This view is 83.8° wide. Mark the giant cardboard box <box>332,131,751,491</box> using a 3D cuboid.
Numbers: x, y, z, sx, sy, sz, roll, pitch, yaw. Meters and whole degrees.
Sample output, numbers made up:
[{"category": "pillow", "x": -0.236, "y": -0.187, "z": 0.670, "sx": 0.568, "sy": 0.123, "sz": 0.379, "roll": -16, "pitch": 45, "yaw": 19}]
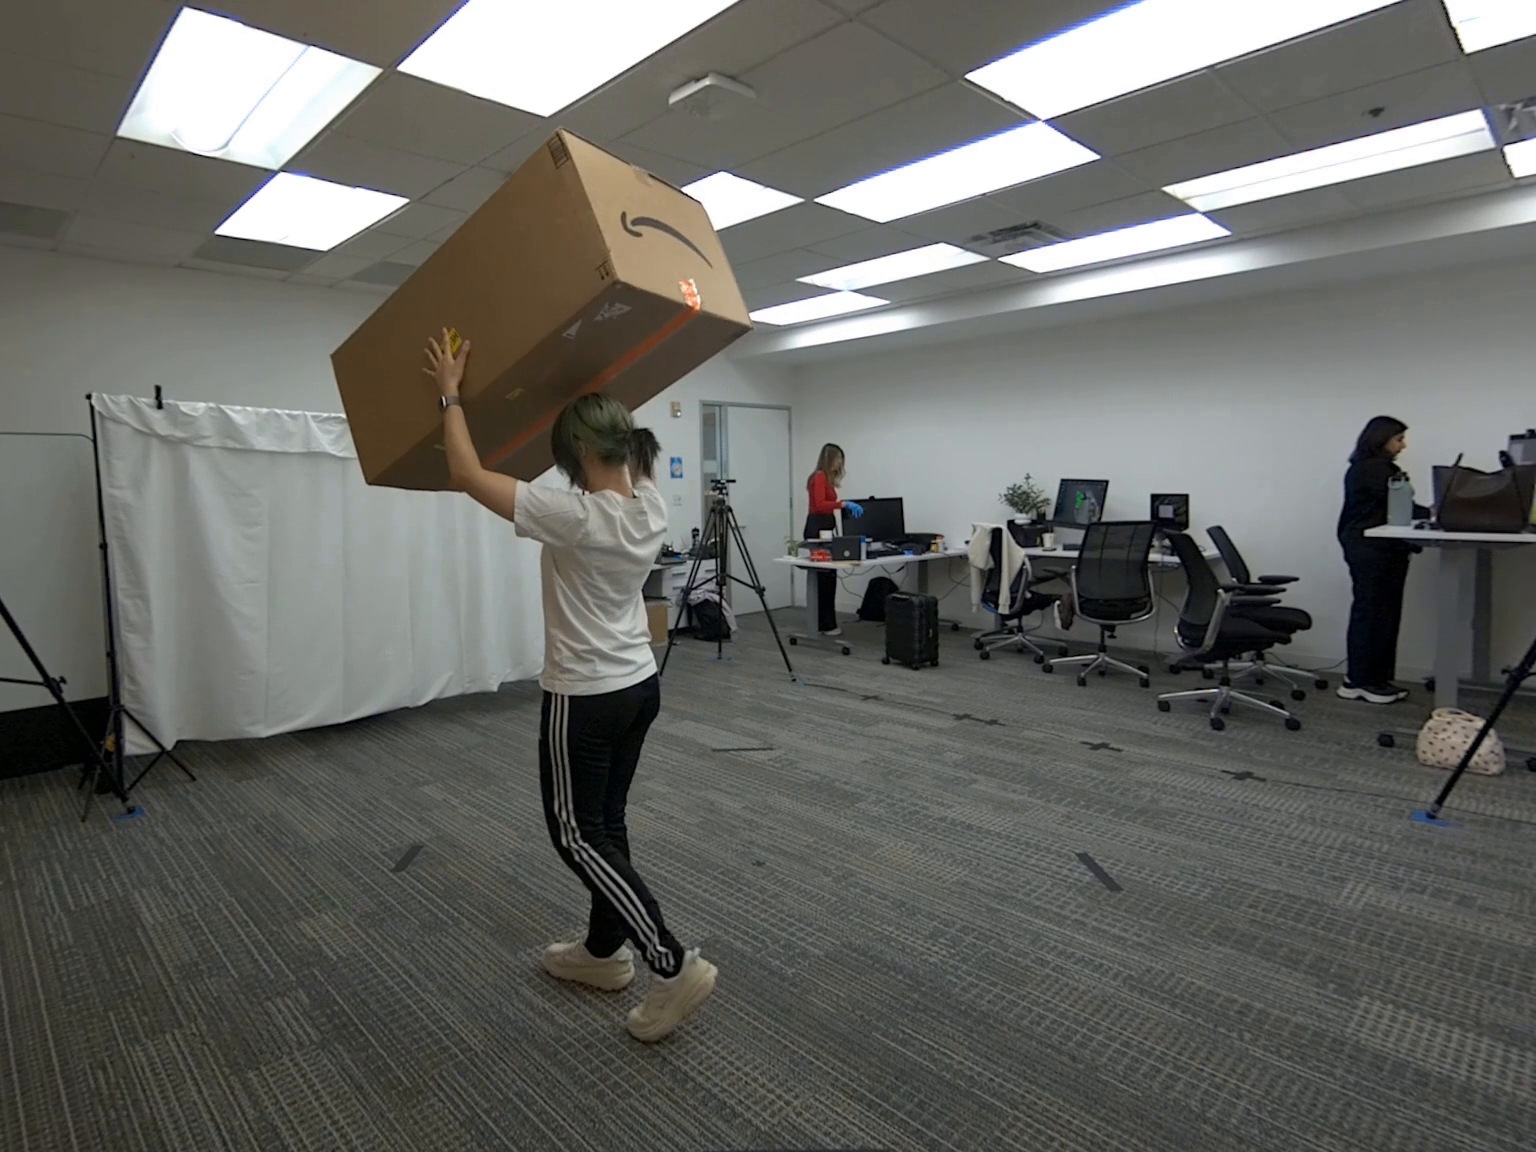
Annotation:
[{"category": "giant cardboard box", "x": -0.651, "y": -0.647, "z": 2.410, "sx": 1.038, "sy": 0.453, "sz": 0.570, "roll": -28, "pitch": -11, "yaw": 30}]
